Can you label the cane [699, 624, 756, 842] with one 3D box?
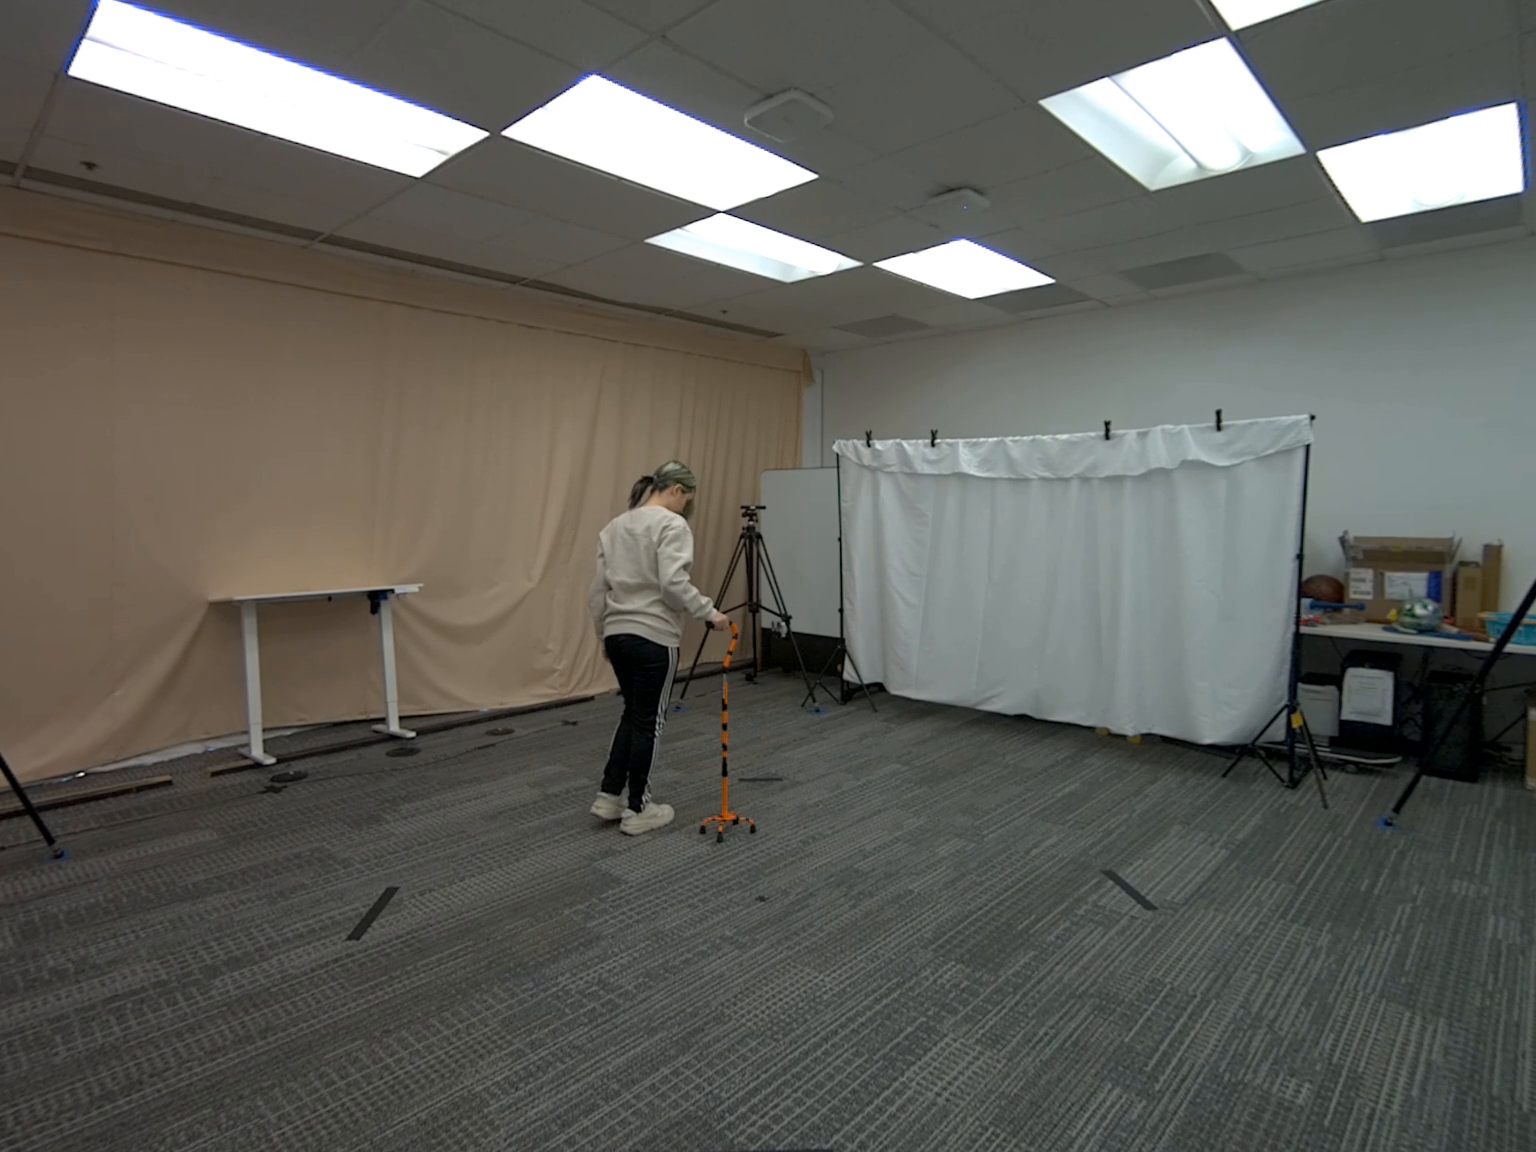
[{"bbox_3d":[-0.165,0.642,3.573,0.200,0.907,0.156,0,1,-37],"label":"cane"}]
